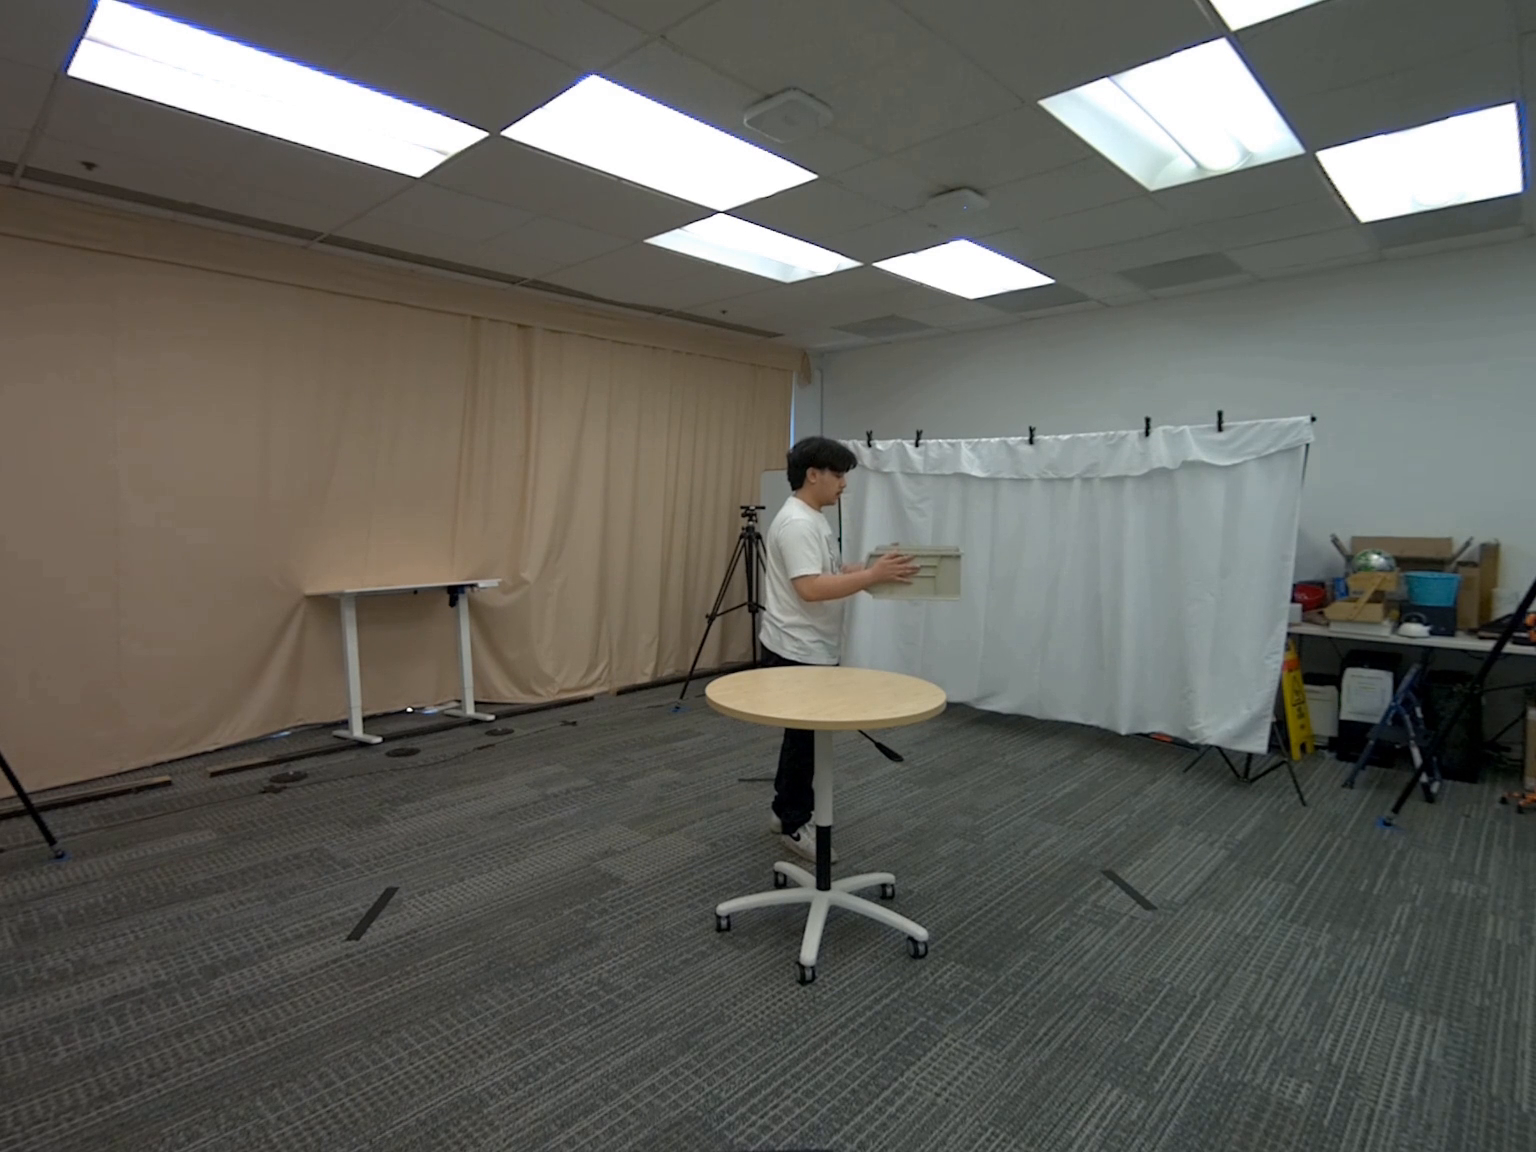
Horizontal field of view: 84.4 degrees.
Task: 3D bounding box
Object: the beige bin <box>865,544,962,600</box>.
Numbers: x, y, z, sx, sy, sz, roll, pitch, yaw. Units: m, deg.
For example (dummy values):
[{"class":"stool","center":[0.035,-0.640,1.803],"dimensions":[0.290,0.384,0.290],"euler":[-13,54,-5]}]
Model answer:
[{"class":"beige bin","center":[0.577,-0.012,3.321],"dimensions":[0.383,0.188,0.417],"euler":[2,4,12]}]
